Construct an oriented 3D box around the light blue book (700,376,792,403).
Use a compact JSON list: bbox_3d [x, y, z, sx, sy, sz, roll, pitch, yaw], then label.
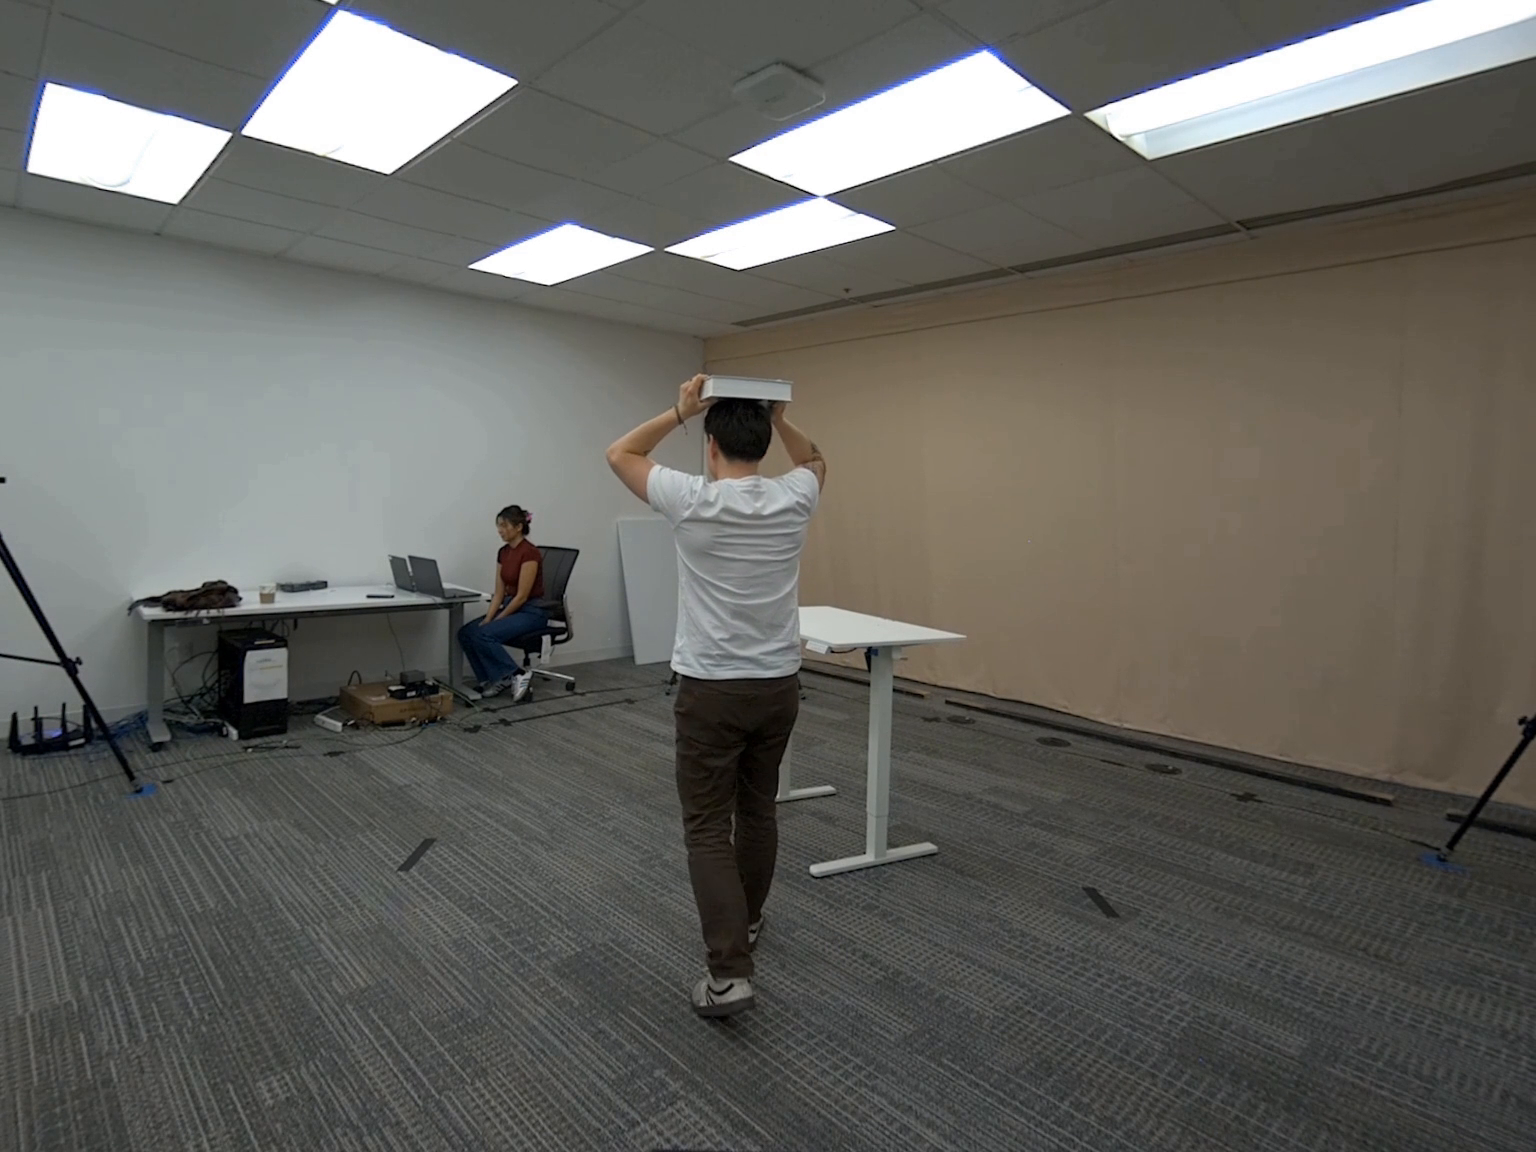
[{"bbox_3d":[-0.100,-0.532,2.459,0.256,0.059,0.195,-2,3,-29],"label":"light blue book"}]
